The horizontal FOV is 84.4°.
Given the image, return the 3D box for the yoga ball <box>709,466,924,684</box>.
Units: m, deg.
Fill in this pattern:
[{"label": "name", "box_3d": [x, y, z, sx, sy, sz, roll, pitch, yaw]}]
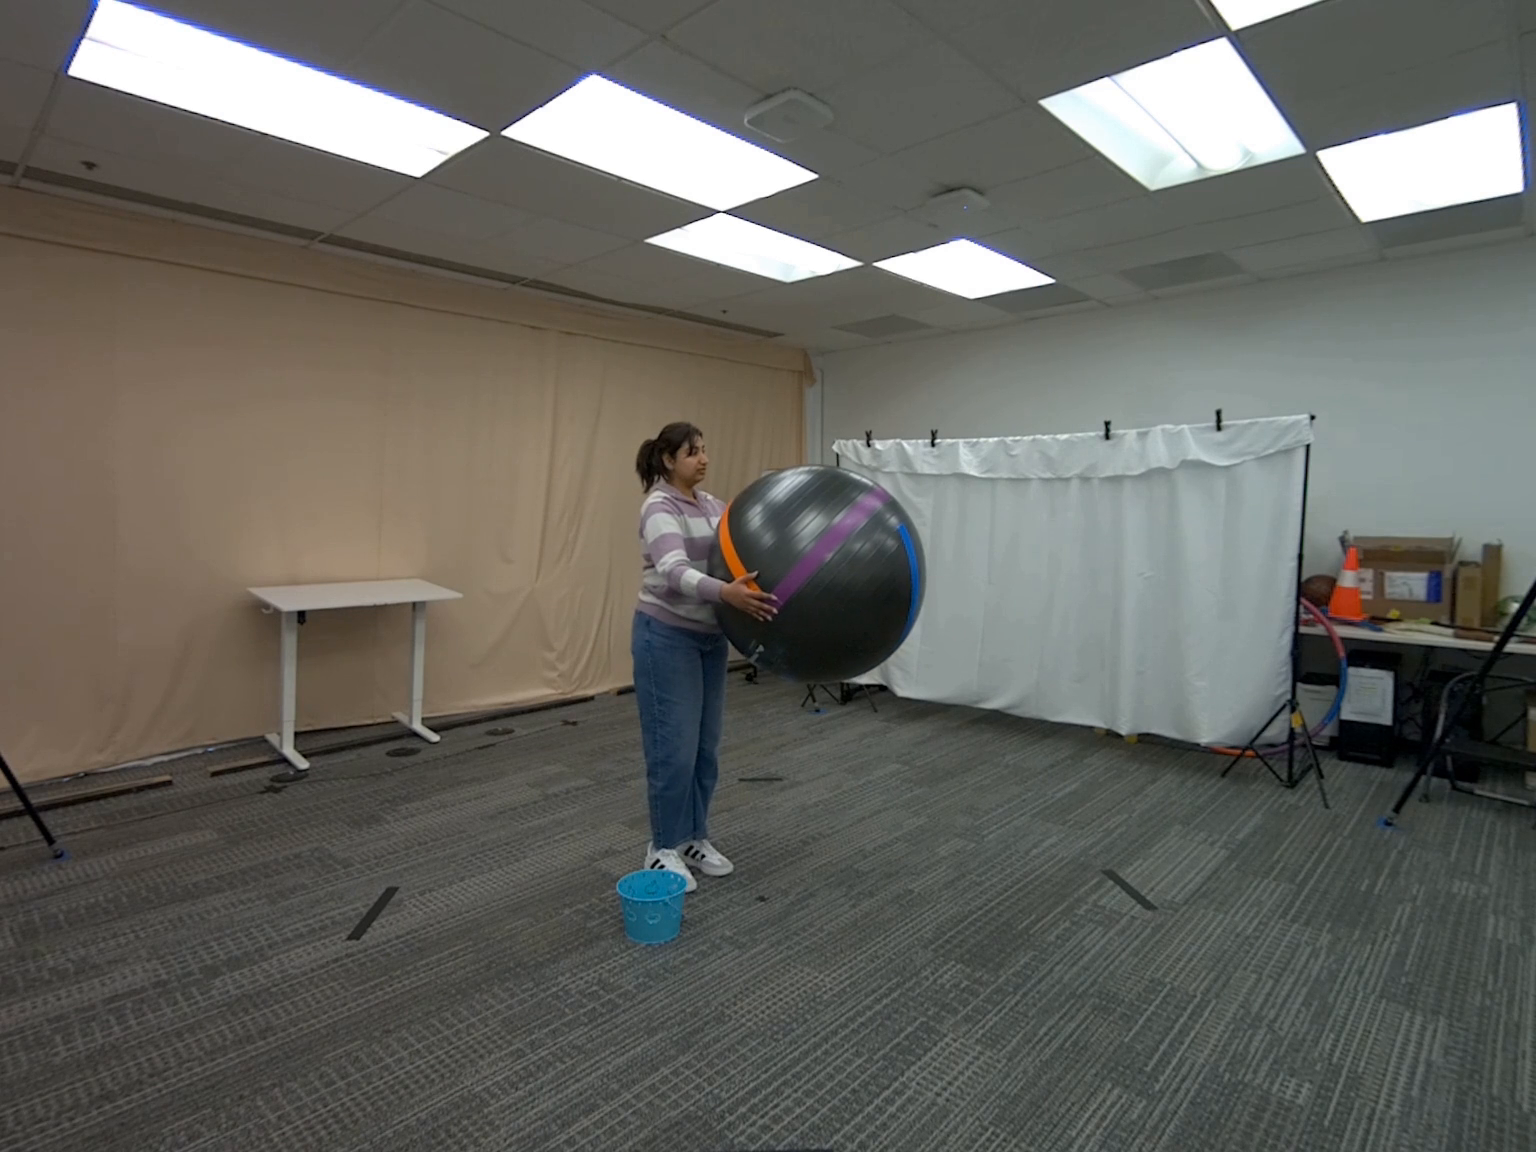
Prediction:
[{"label": "yoga ball", "box_3d": [0.172, 0.001, 2.925, 0.757, 0.756, 0.761, 0, 4, -2]}]
